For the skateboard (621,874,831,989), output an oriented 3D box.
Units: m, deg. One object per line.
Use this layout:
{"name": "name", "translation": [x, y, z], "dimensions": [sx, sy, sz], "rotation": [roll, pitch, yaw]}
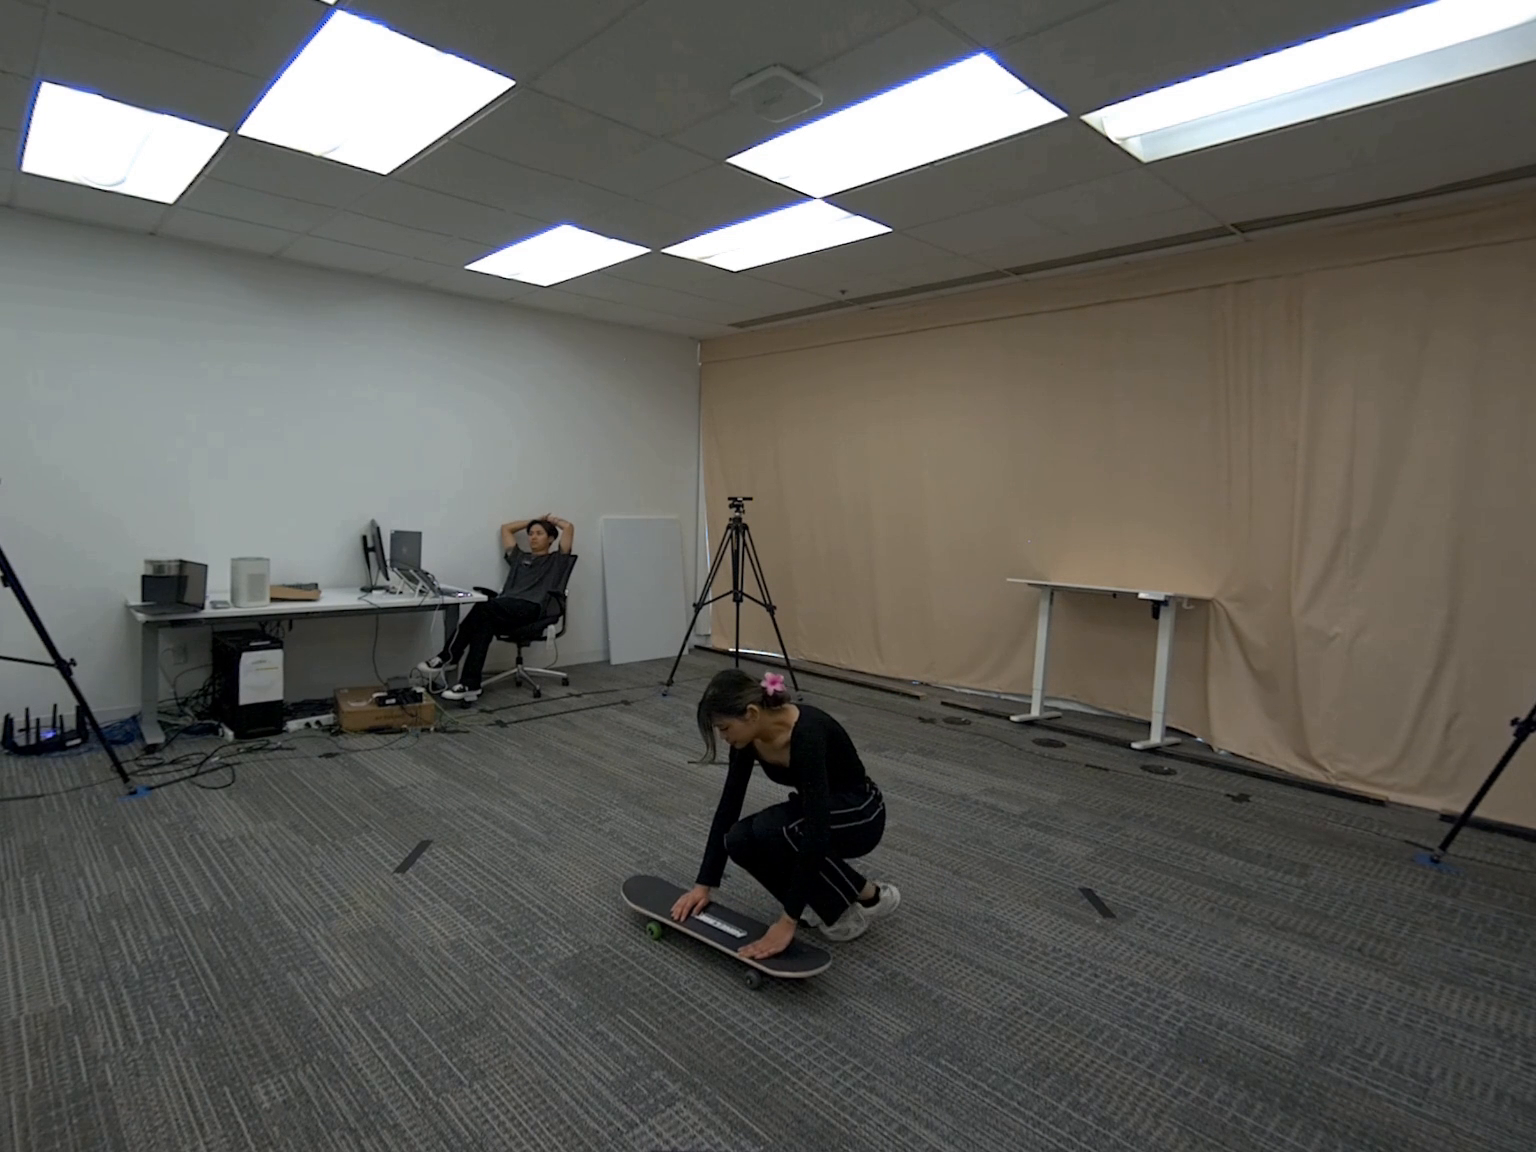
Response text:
{"name": "skateboard", "translation": [-0.156, 1.095, 2.585], "dimensions": [0.805, 0.110, 0.189], "rotation": [5, 7, 38]}
